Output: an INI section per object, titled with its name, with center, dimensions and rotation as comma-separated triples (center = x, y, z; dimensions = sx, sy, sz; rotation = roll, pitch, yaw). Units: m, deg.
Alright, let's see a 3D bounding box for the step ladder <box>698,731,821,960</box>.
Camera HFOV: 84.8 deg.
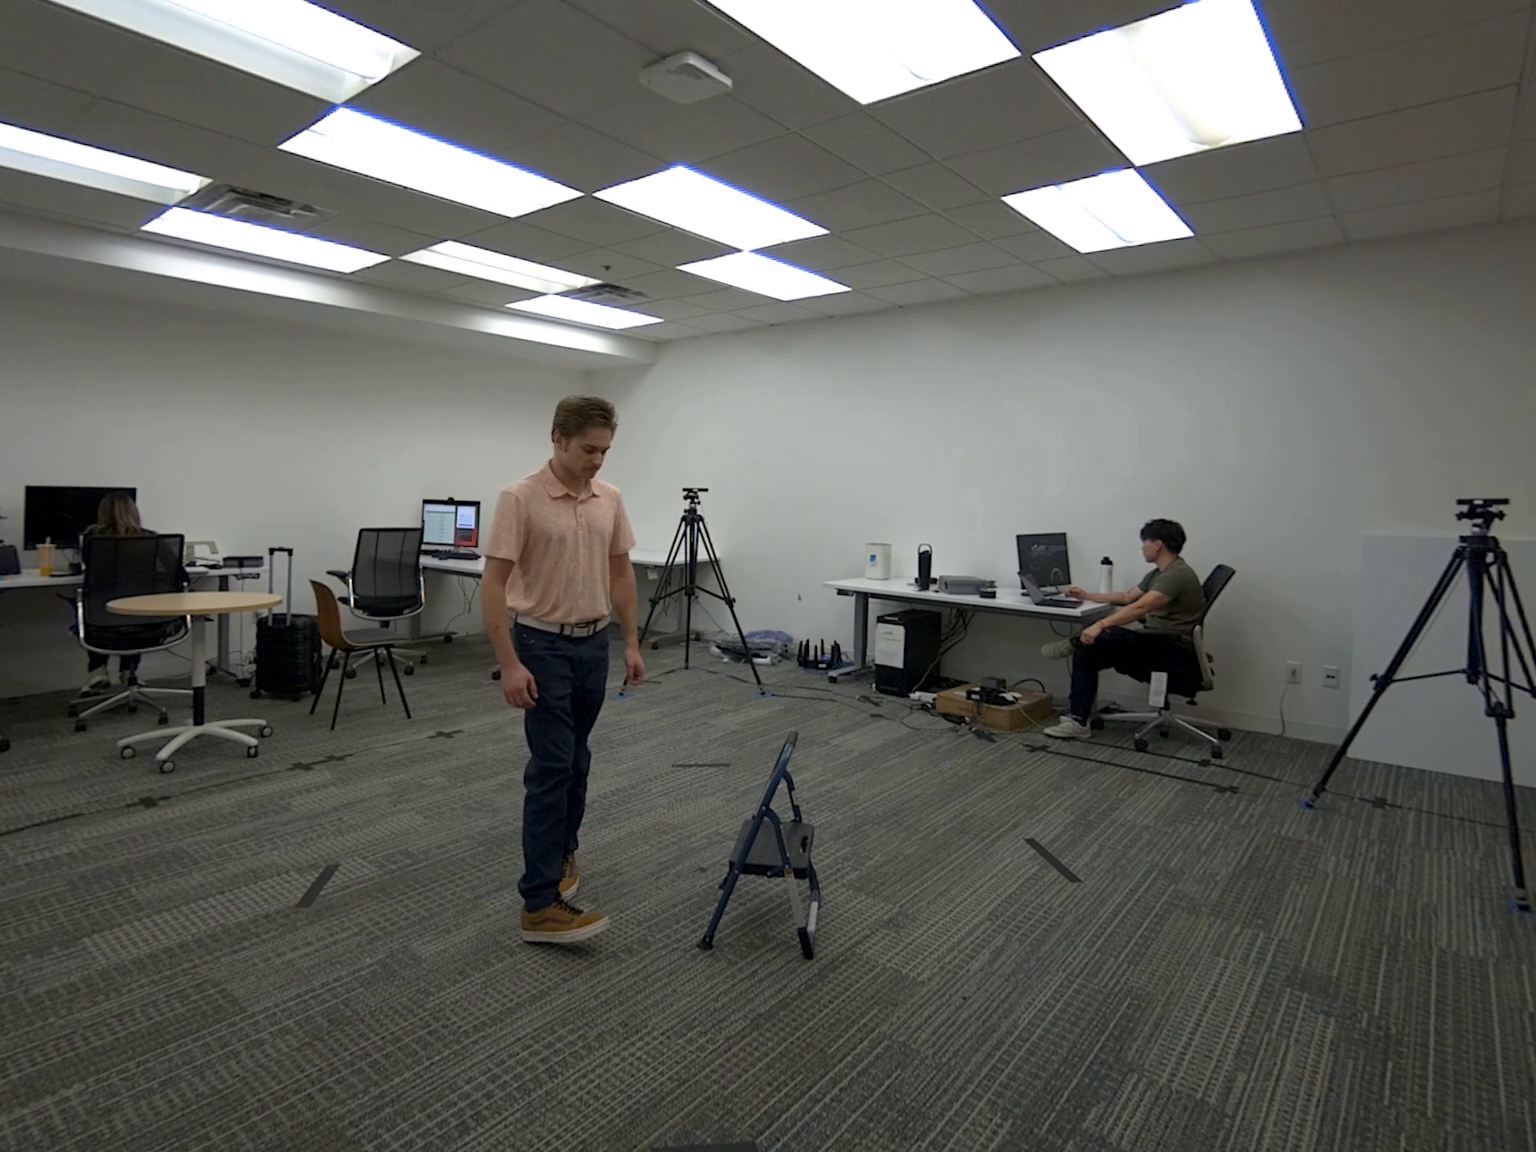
[step ladder]
center = -0.011, 0.812, 2.729
dimensions = 0.353, 0.604, 0.428
rotation = 2, 4, 8
